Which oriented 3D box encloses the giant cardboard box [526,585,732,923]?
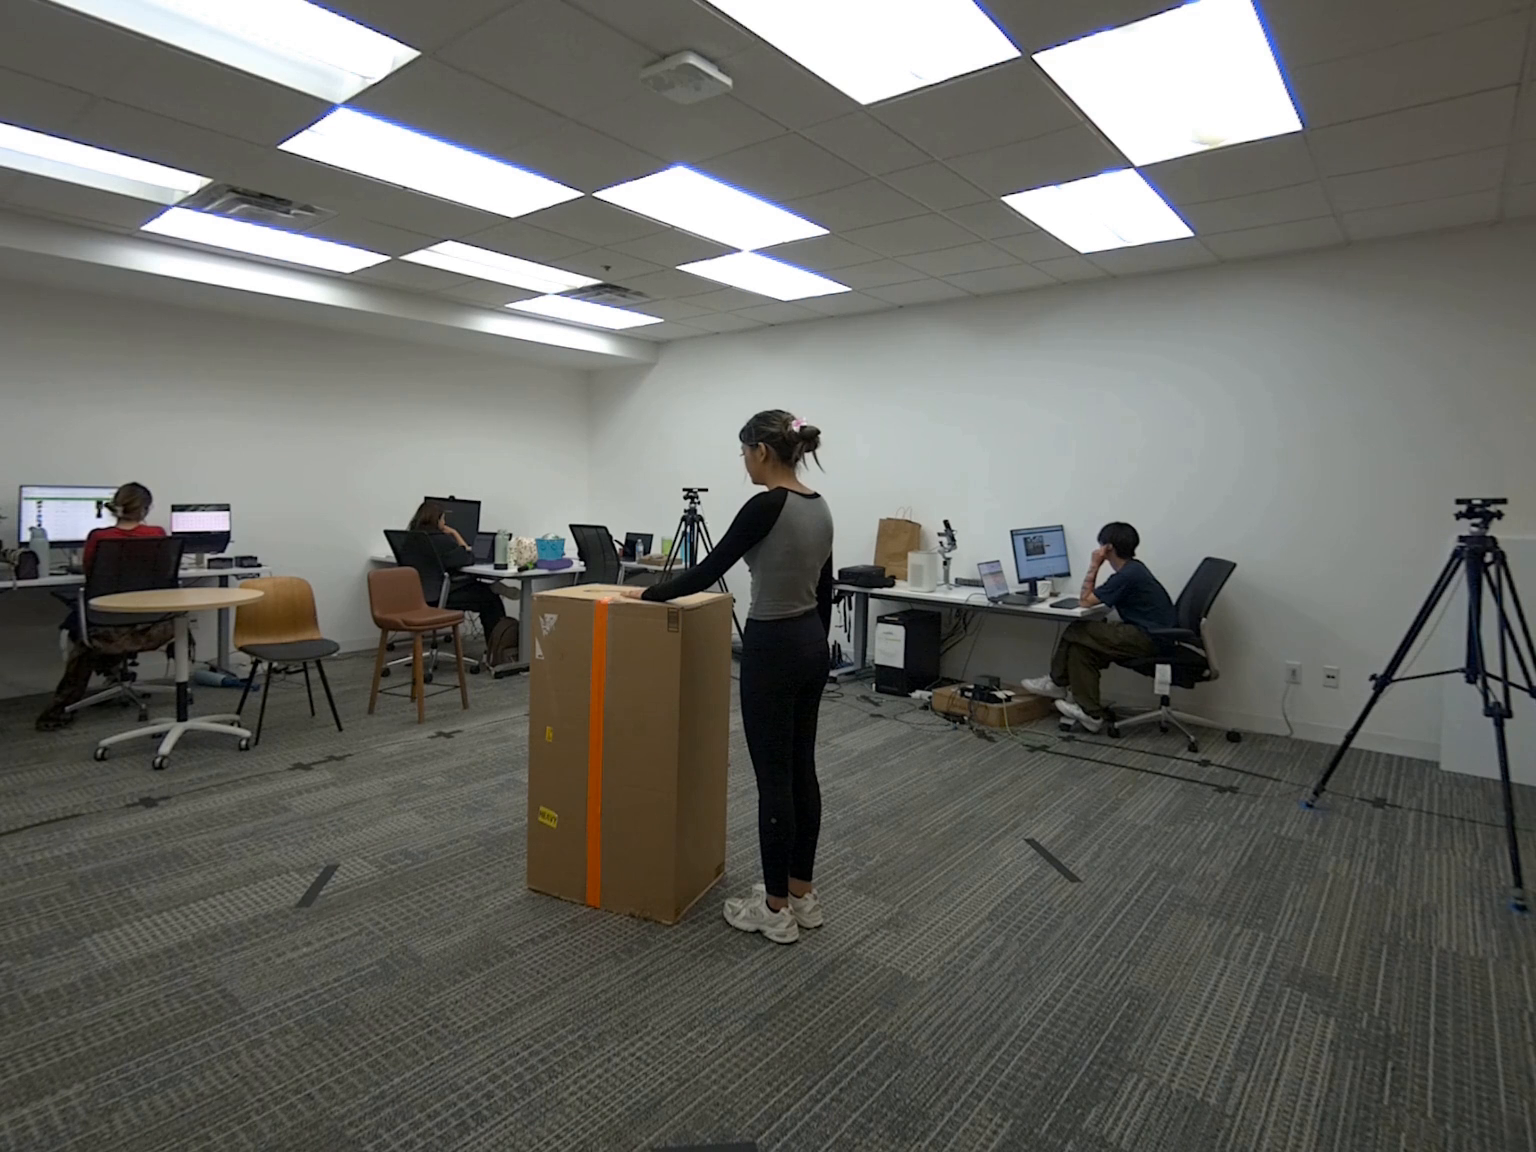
[{"bbox_3d":[-0.494,0.573,2.979,0.598,1.025,0.437,3,3,22],"label":"giant cardboard box"}]
